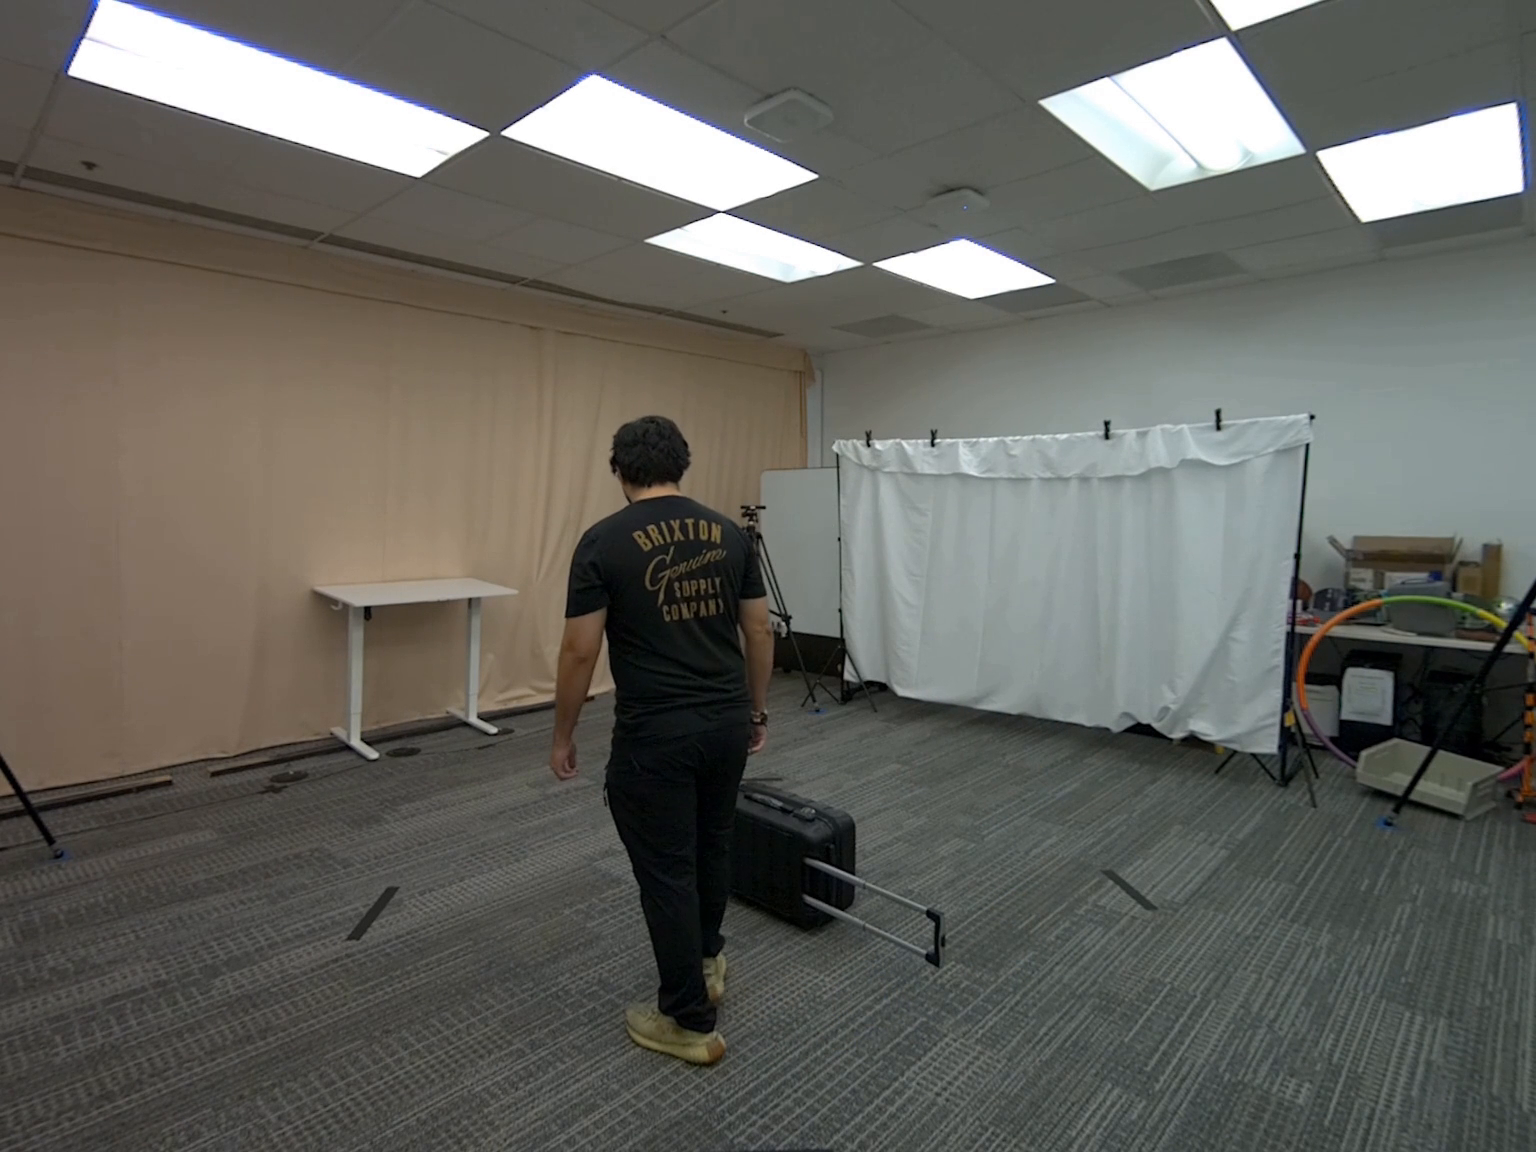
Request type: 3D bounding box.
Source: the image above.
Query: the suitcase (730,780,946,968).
[{"bbox_3d":[0.200,0.972,2.798,1.012,0.383,0.249,5,6,43],"label":"suitcase"}]
